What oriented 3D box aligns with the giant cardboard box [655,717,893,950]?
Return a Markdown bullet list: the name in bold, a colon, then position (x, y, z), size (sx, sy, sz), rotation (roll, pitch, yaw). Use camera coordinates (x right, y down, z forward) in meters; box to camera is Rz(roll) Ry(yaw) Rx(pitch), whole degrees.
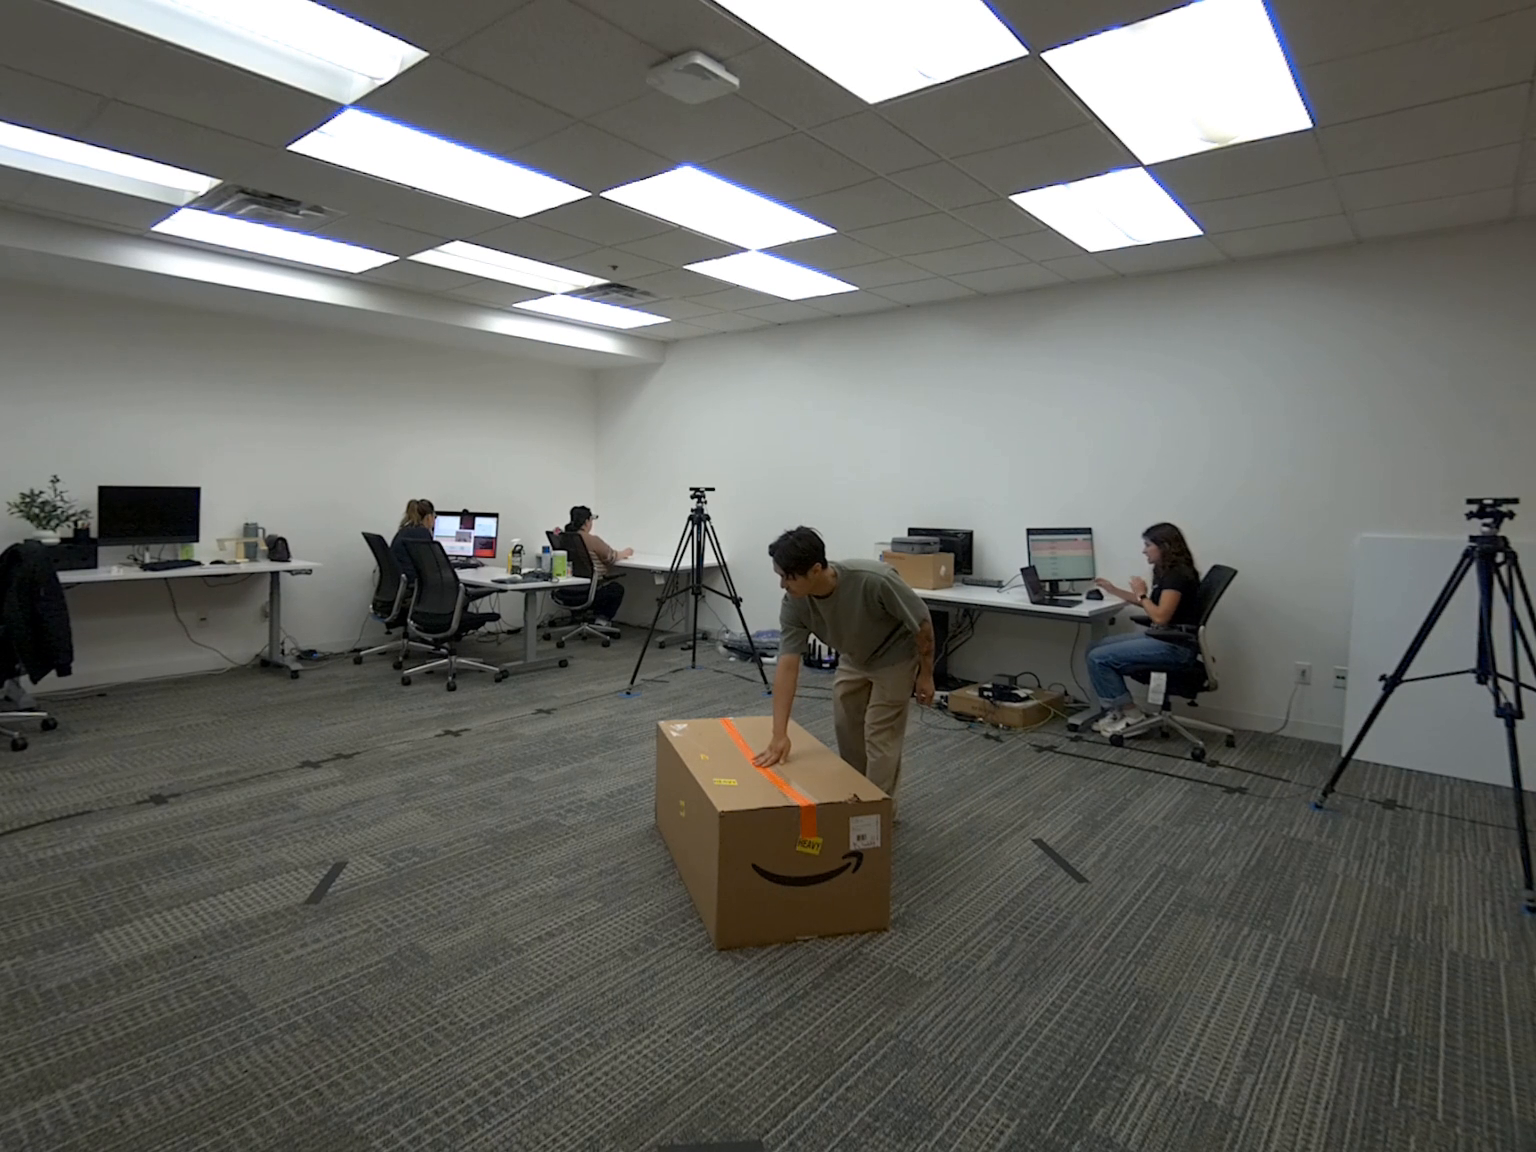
- **giant cardboard box**: position (-0.046, 0.858, 3.099), size (0.568, 0.424, 1.047), rotation (-1, 5, -17)
